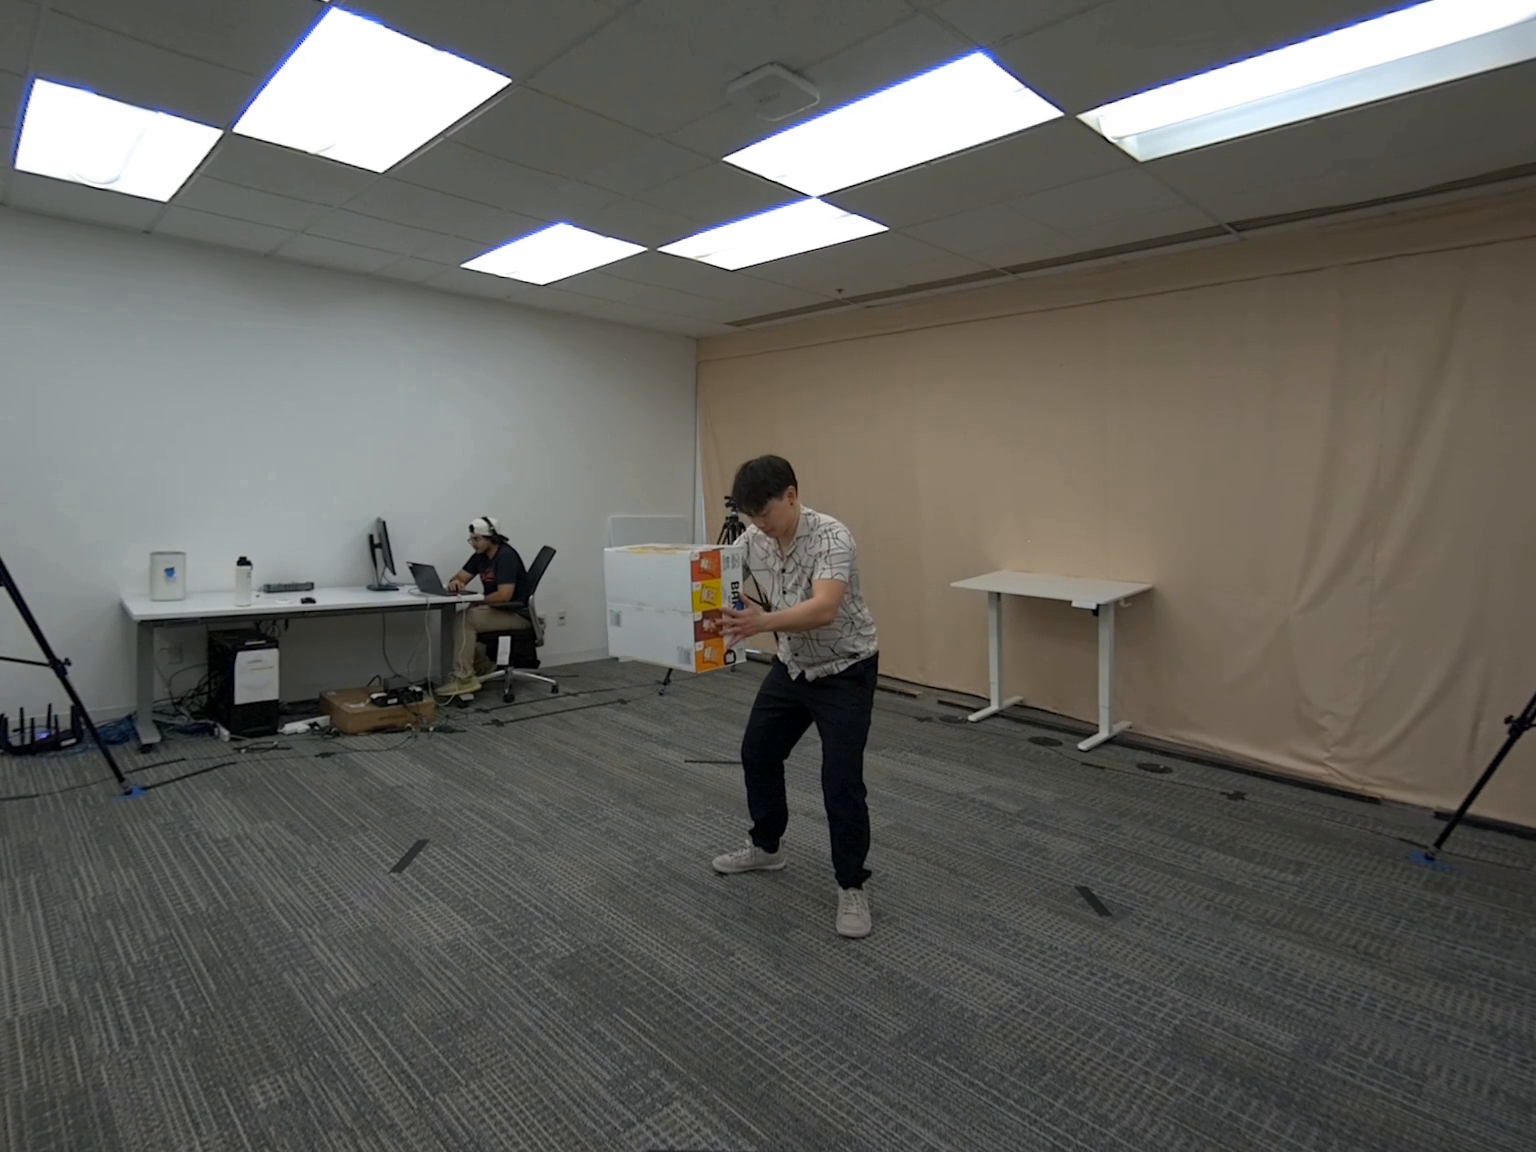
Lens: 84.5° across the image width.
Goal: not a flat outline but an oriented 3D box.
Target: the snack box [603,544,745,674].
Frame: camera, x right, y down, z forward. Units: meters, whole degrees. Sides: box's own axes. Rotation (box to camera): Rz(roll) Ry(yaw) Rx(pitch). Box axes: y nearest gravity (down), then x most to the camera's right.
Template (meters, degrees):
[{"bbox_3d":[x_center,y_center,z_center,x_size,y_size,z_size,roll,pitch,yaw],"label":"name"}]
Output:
[{"bbox_3d":[-0.292,0.084,2.519,0.415,0.339,0.201,2,4,44],"label":"snack box"}]
